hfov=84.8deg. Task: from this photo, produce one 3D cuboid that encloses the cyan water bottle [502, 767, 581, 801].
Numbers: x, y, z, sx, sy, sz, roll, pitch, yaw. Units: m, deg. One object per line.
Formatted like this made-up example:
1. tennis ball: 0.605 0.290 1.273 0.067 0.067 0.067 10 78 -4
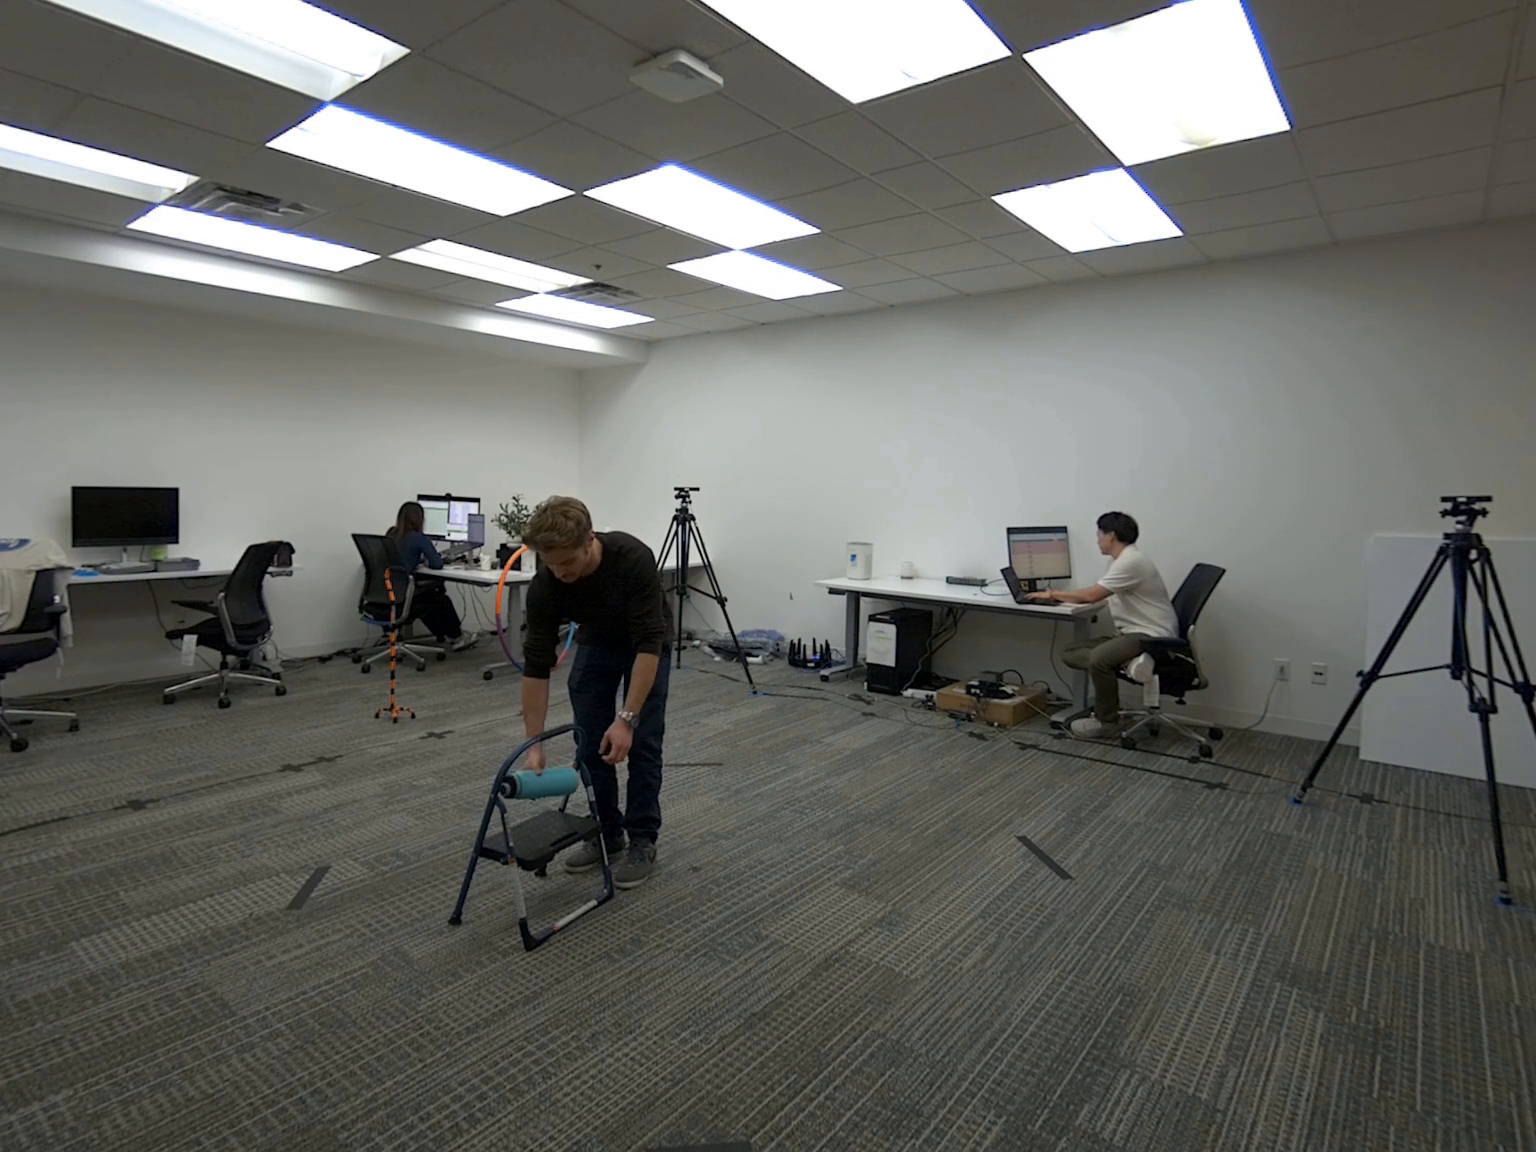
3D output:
1. cyan water bottle: -0.761 0.671 2.760 0.095 0.092 0.273 4 -2 41
